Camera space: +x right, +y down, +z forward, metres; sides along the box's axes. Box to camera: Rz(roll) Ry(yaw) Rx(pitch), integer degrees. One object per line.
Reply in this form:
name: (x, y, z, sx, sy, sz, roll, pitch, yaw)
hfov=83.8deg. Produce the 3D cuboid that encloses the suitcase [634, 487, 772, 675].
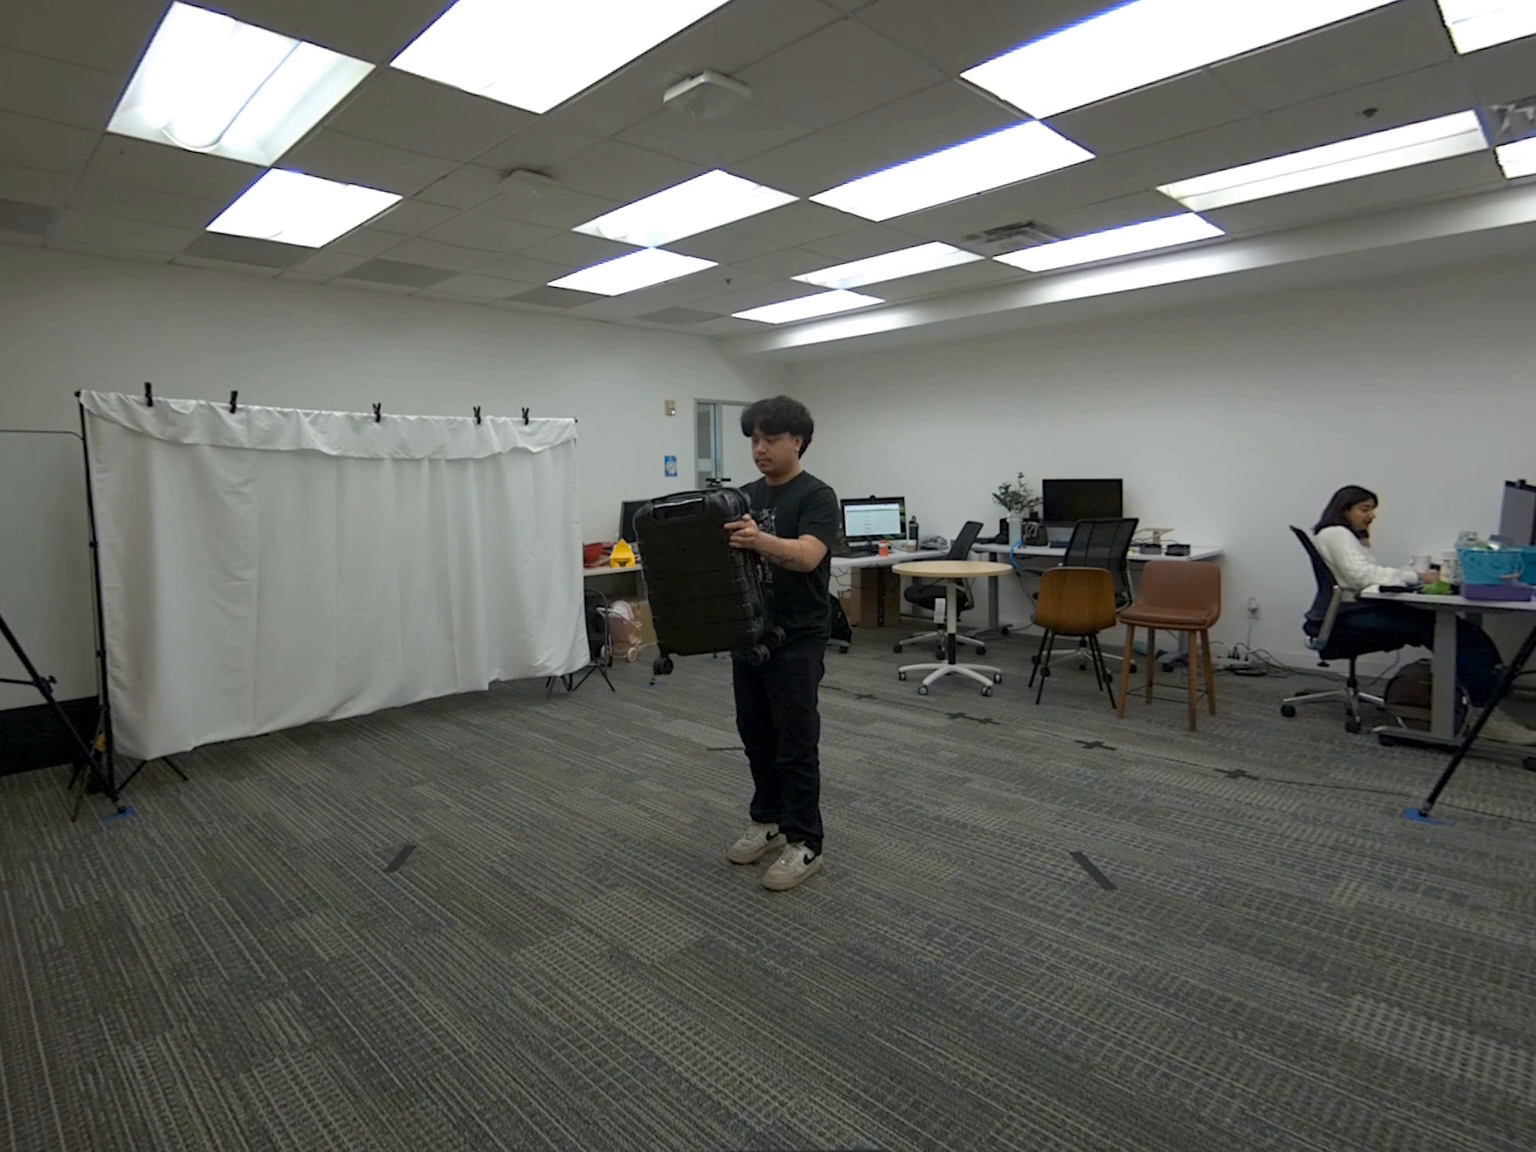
suitcase: (-0.211, -0.002, 2.736, 0.381, 0.546, 0.246, -9, 7, 20)
